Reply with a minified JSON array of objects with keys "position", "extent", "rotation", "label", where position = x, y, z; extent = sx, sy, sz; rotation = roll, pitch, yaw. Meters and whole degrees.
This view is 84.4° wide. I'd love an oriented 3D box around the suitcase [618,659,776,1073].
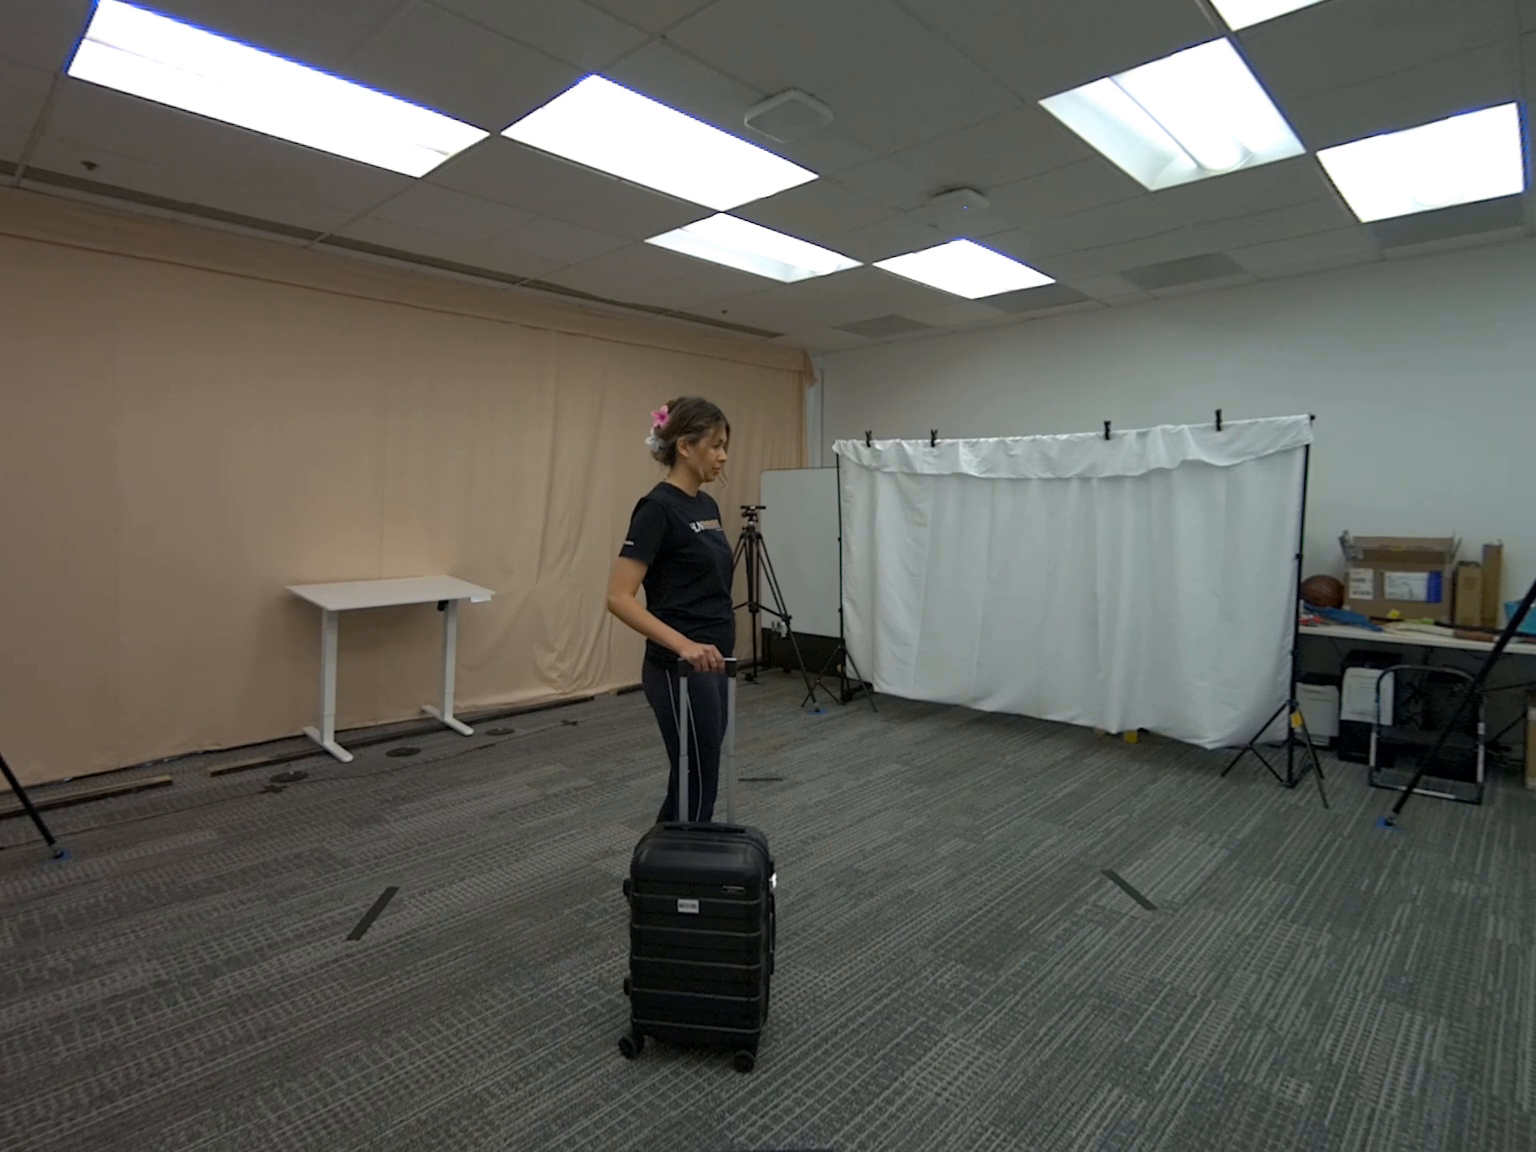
[{"position":[-0.171,0.735,2.178],"extent":[0.388,0.975,0.255],"rotation":[1,5,9],"label":"suitcase"}]
